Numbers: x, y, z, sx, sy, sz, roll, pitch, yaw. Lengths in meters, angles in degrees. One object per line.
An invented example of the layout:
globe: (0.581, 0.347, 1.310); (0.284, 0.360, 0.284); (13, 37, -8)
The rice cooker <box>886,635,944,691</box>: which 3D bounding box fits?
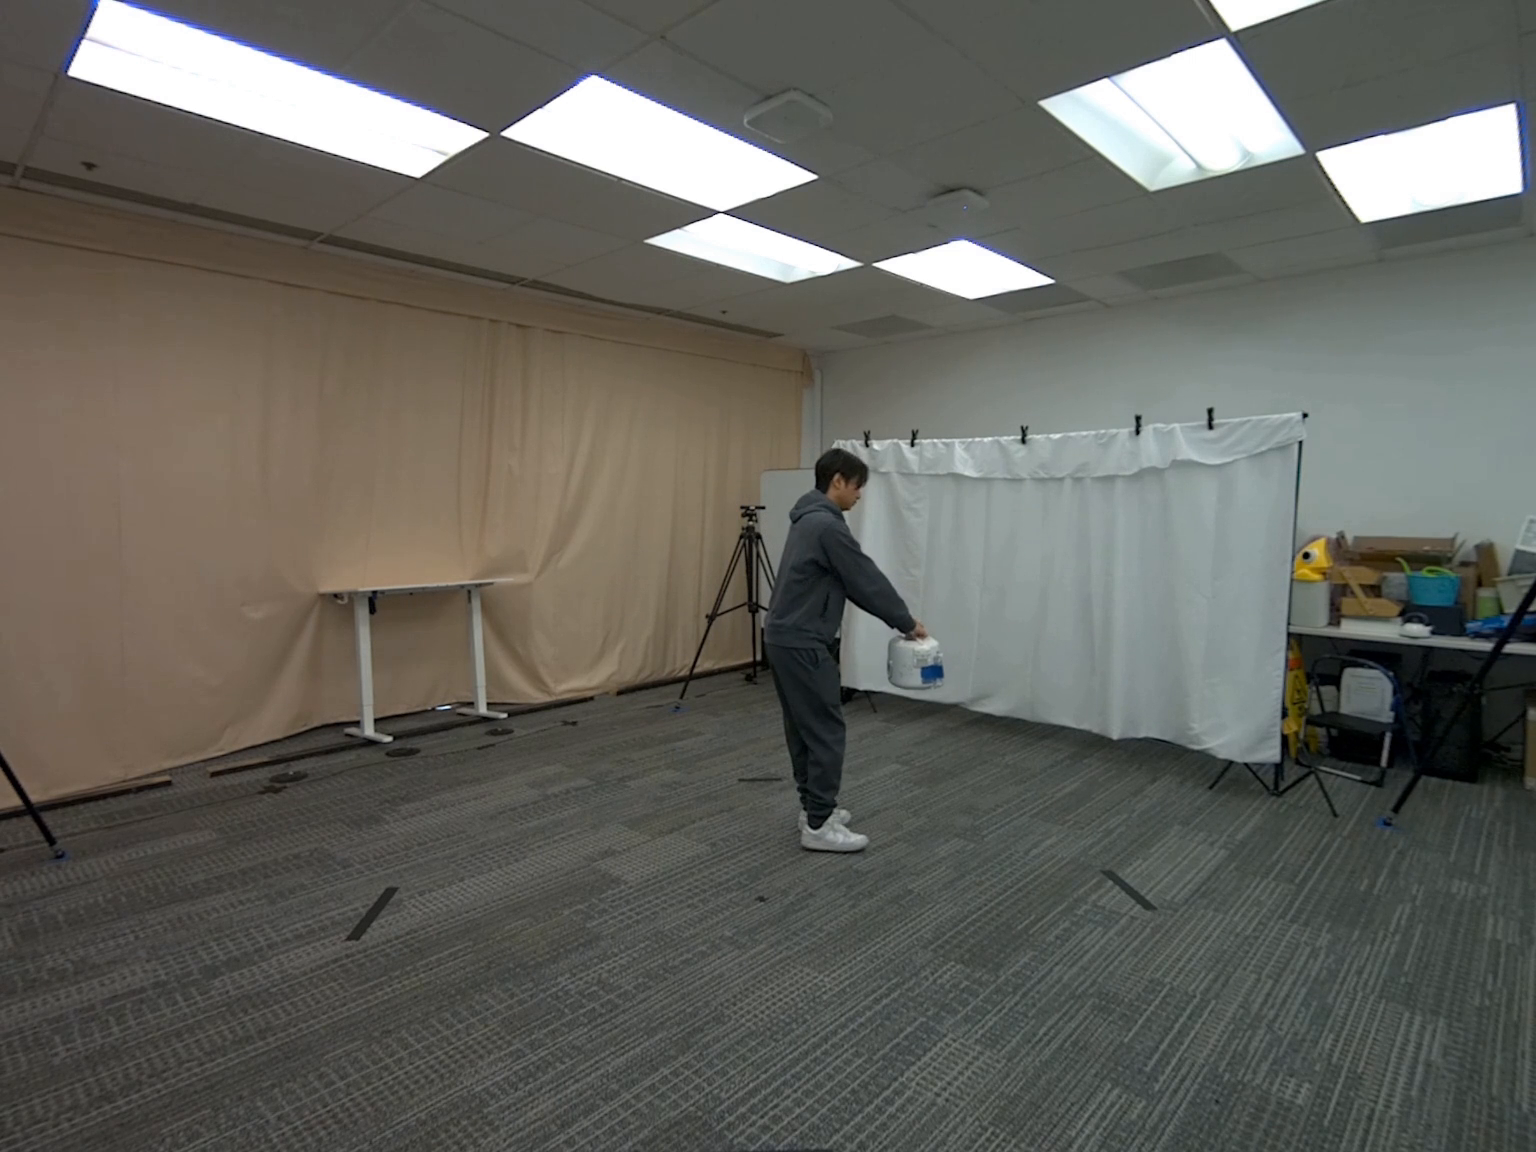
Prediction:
rice cooker: (0.623, 0.356, 3.572); (0.216, 0.232, 0.222); (-1, 6, -5)
